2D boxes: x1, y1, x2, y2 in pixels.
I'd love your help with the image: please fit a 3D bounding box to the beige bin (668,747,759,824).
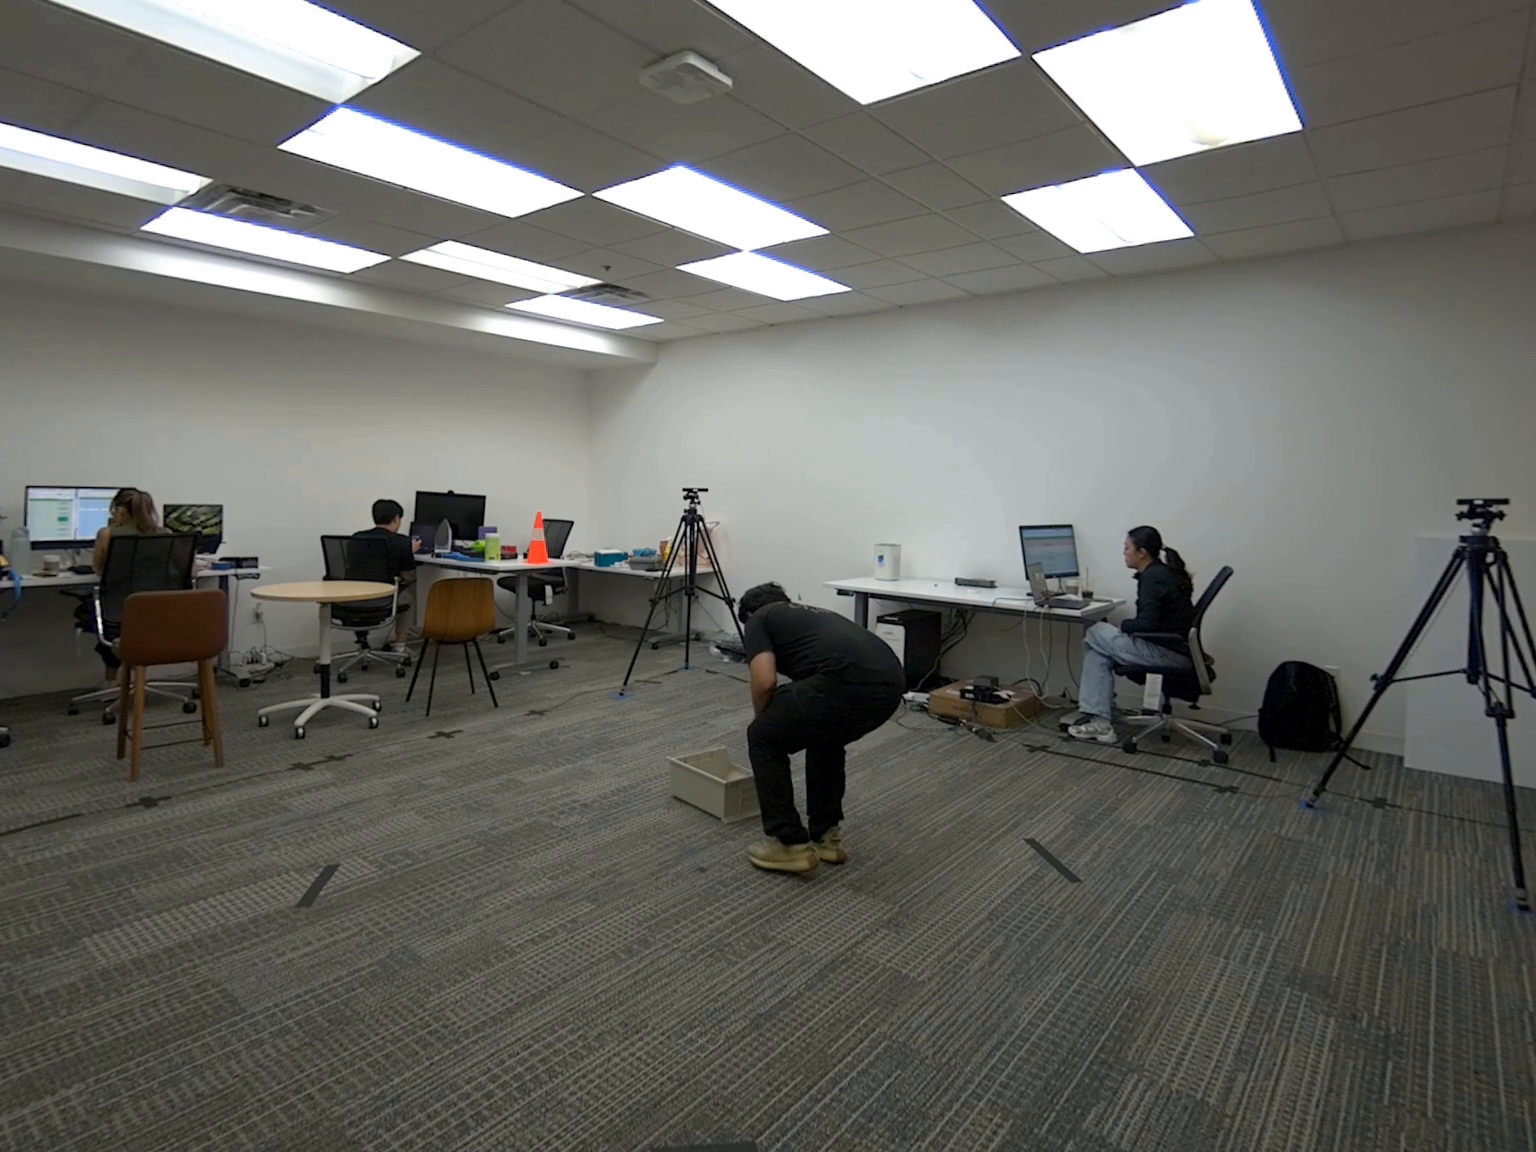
[{"bbox_3d":[-0.194,0.915,3.802,0.366,0.188,0.437,-4,8,-41],"label":"beige bin"}]
